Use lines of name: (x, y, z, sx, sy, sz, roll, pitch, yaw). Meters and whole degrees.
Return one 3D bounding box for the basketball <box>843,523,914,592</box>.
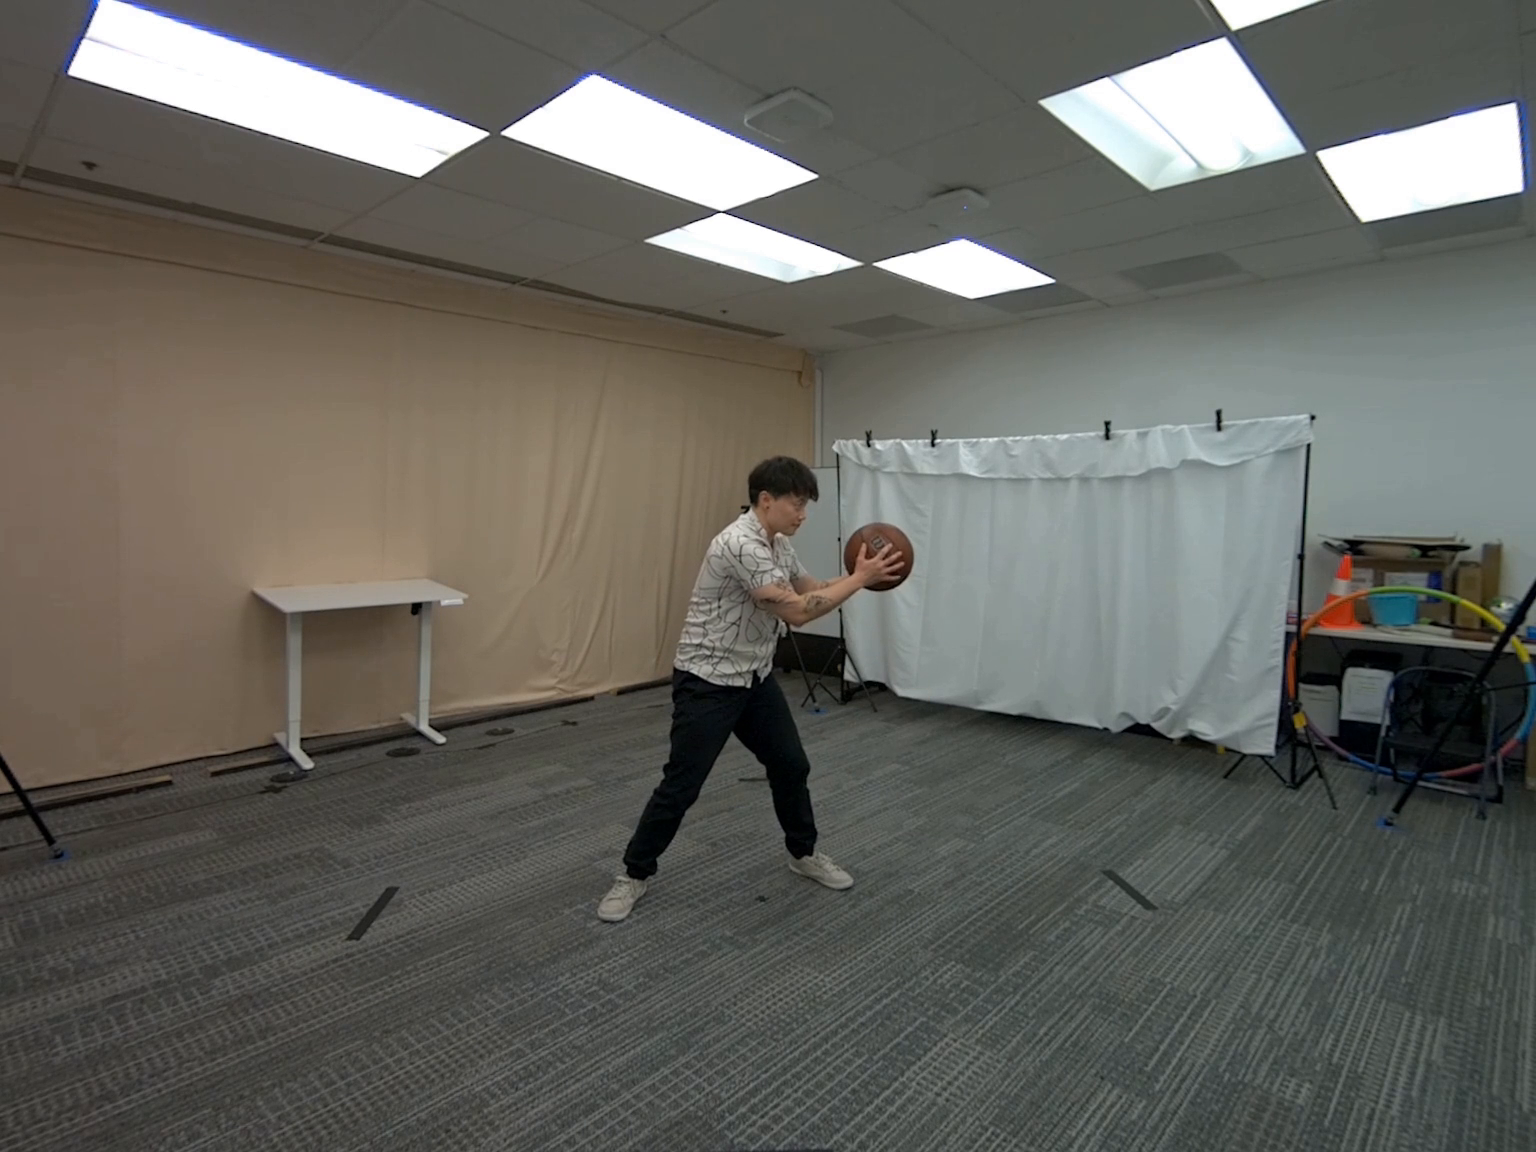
basketball: (0.395, -0.050, 2.895, 0.236, 0.235, 0.237, 0, 4, -2)
